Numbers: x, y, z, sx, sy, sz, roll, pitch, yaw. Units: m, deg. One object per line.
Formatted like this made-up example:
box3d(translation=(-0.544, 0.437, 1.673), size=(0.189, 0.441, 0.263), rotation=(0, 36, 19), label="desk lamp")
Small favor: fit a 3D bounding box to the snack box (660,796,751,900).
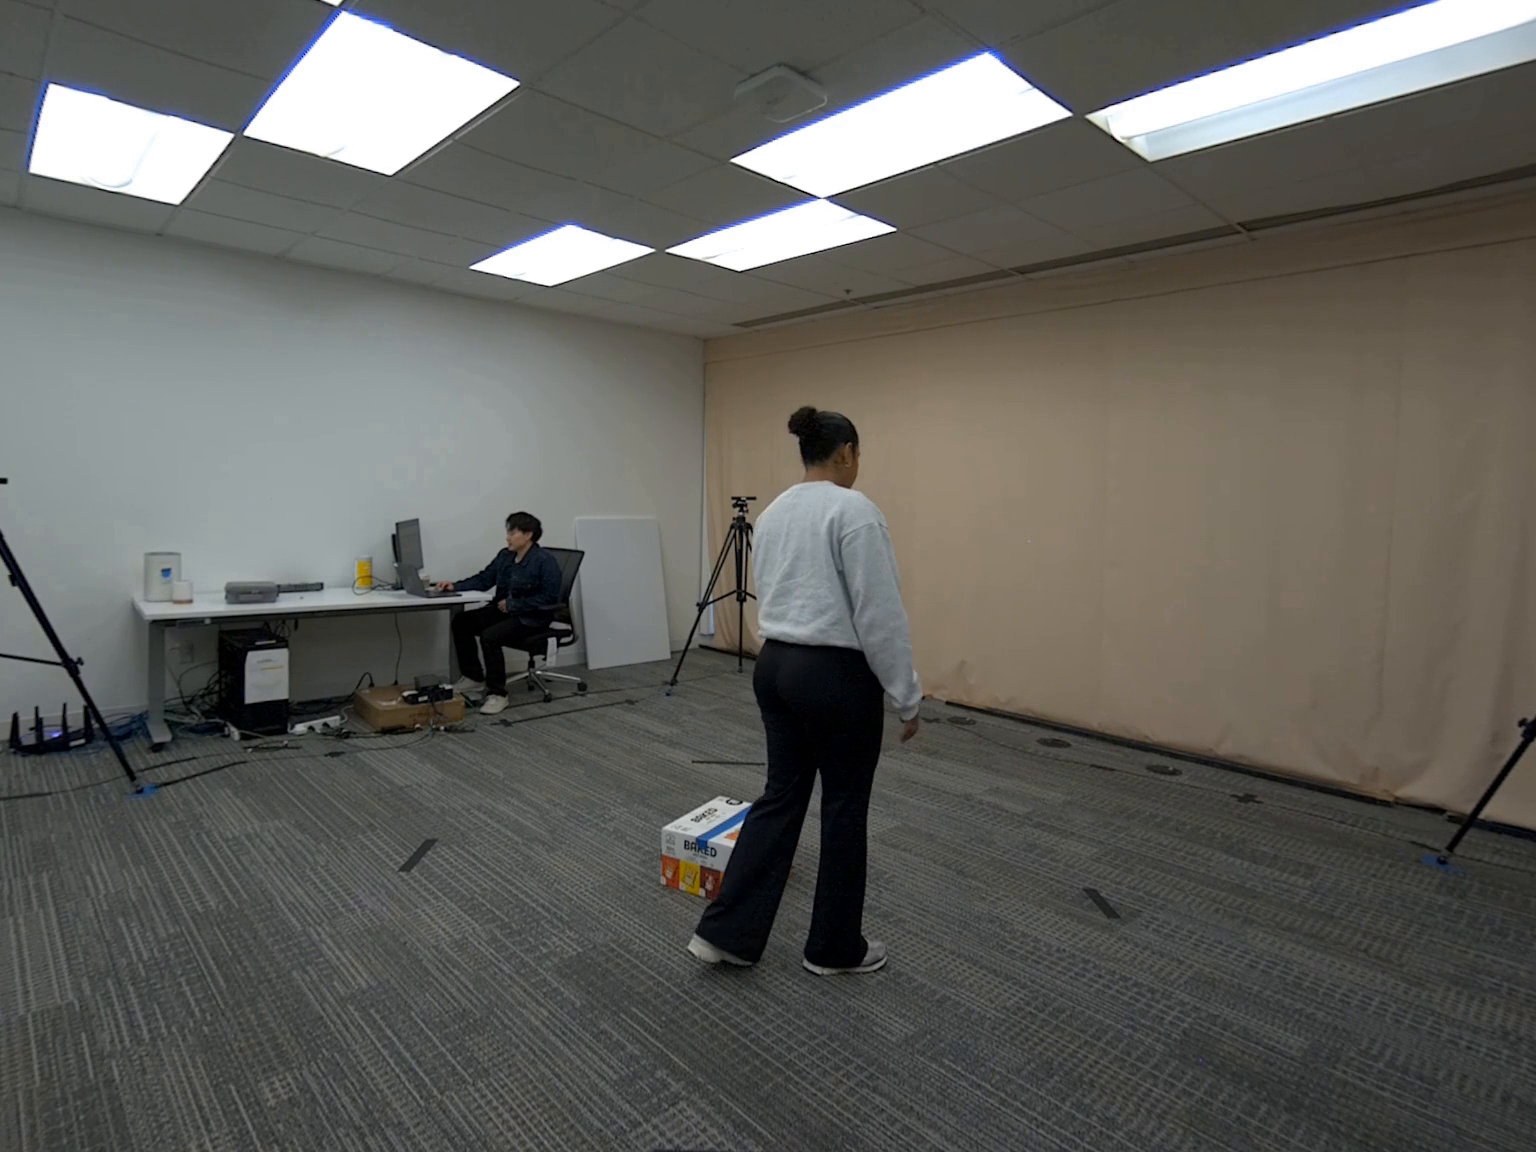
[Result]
box3d(translation=(-0.147, 1.006, 3.103), size=(0.348, 0.205, 0.397), rotation=(4, 6, 30), label="snack box")
